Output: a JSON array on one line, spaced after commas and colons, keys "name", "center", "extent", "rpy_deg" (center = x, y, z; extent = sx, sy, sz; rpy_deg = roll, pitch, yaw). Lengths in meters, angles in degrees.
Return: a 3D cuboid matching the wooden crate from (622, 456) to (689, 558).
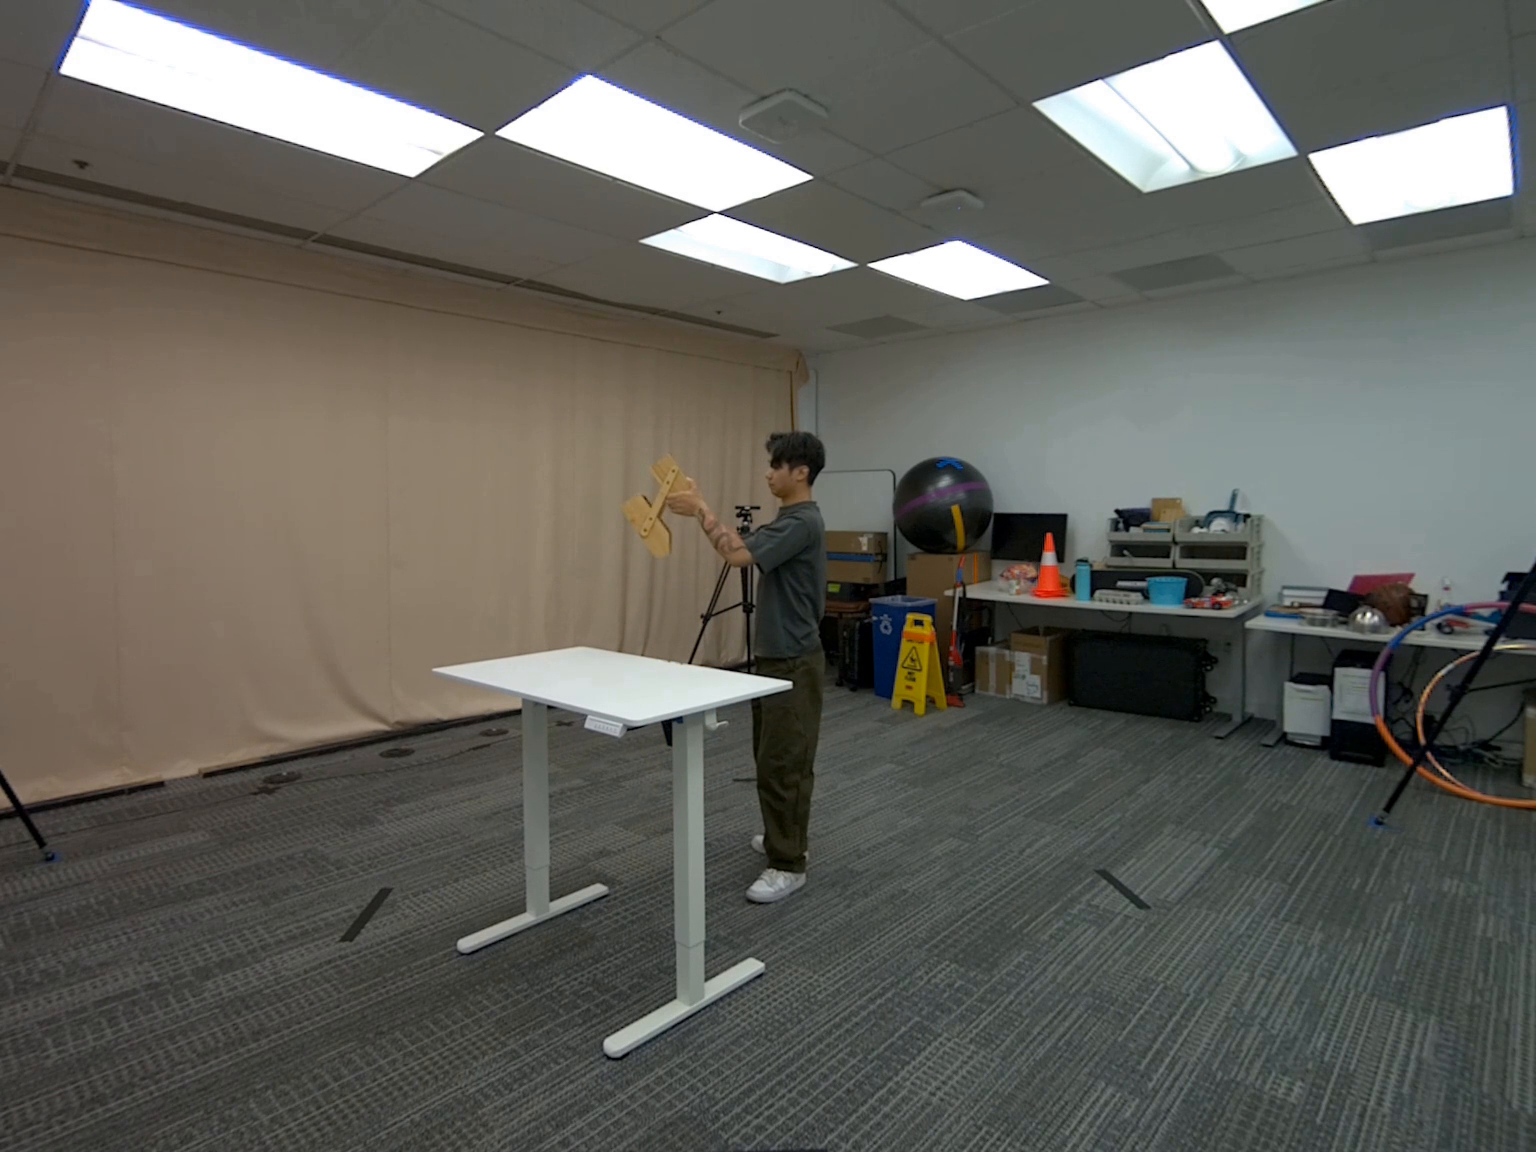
[{"name": "wooden crate", "center": [-0.381, -0.253, 3.221], "extent": [0.273, 0.301, 0.326], "rpy_deg": [-36, 4, -3]}]
